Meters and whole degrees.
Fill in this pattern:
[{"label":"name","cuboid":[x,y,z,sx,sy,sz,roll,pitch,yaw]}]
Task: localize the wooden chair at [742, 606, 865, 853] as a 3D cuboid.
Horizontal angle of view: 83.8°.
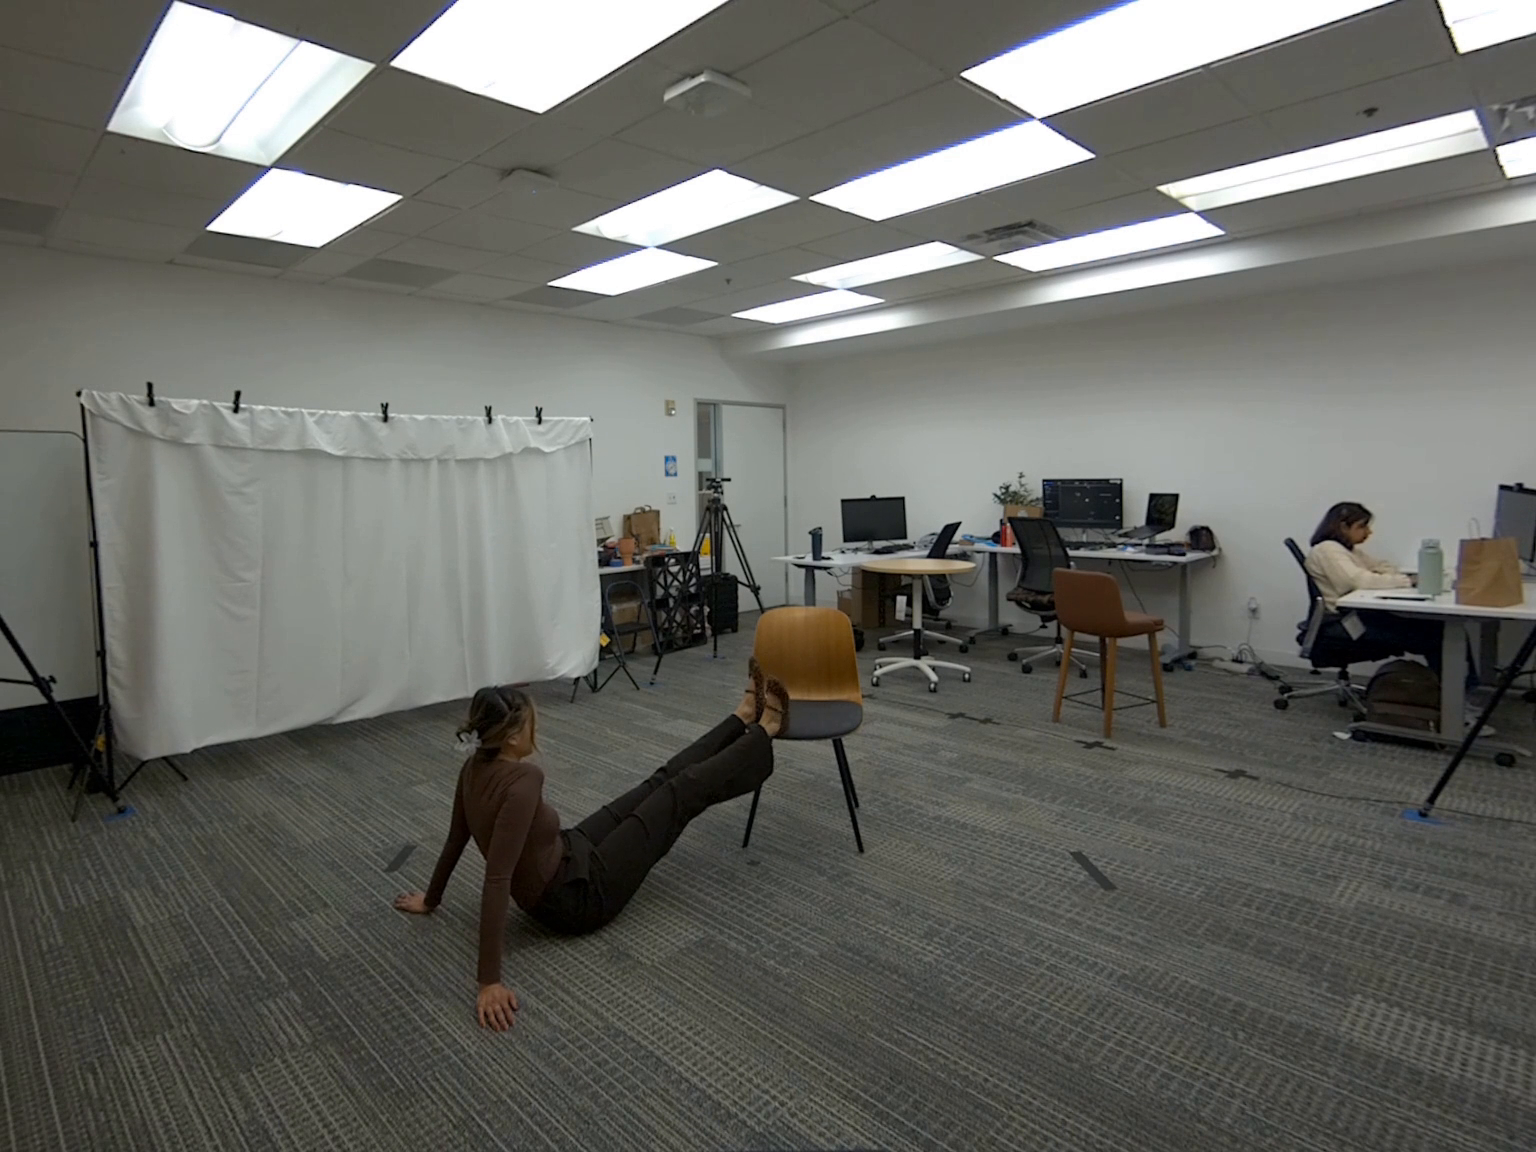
[{"label":"wooden chair","cuboid":[0.139,0.579,3.388,0.482,0.877,0.519,0,0,7]}]
